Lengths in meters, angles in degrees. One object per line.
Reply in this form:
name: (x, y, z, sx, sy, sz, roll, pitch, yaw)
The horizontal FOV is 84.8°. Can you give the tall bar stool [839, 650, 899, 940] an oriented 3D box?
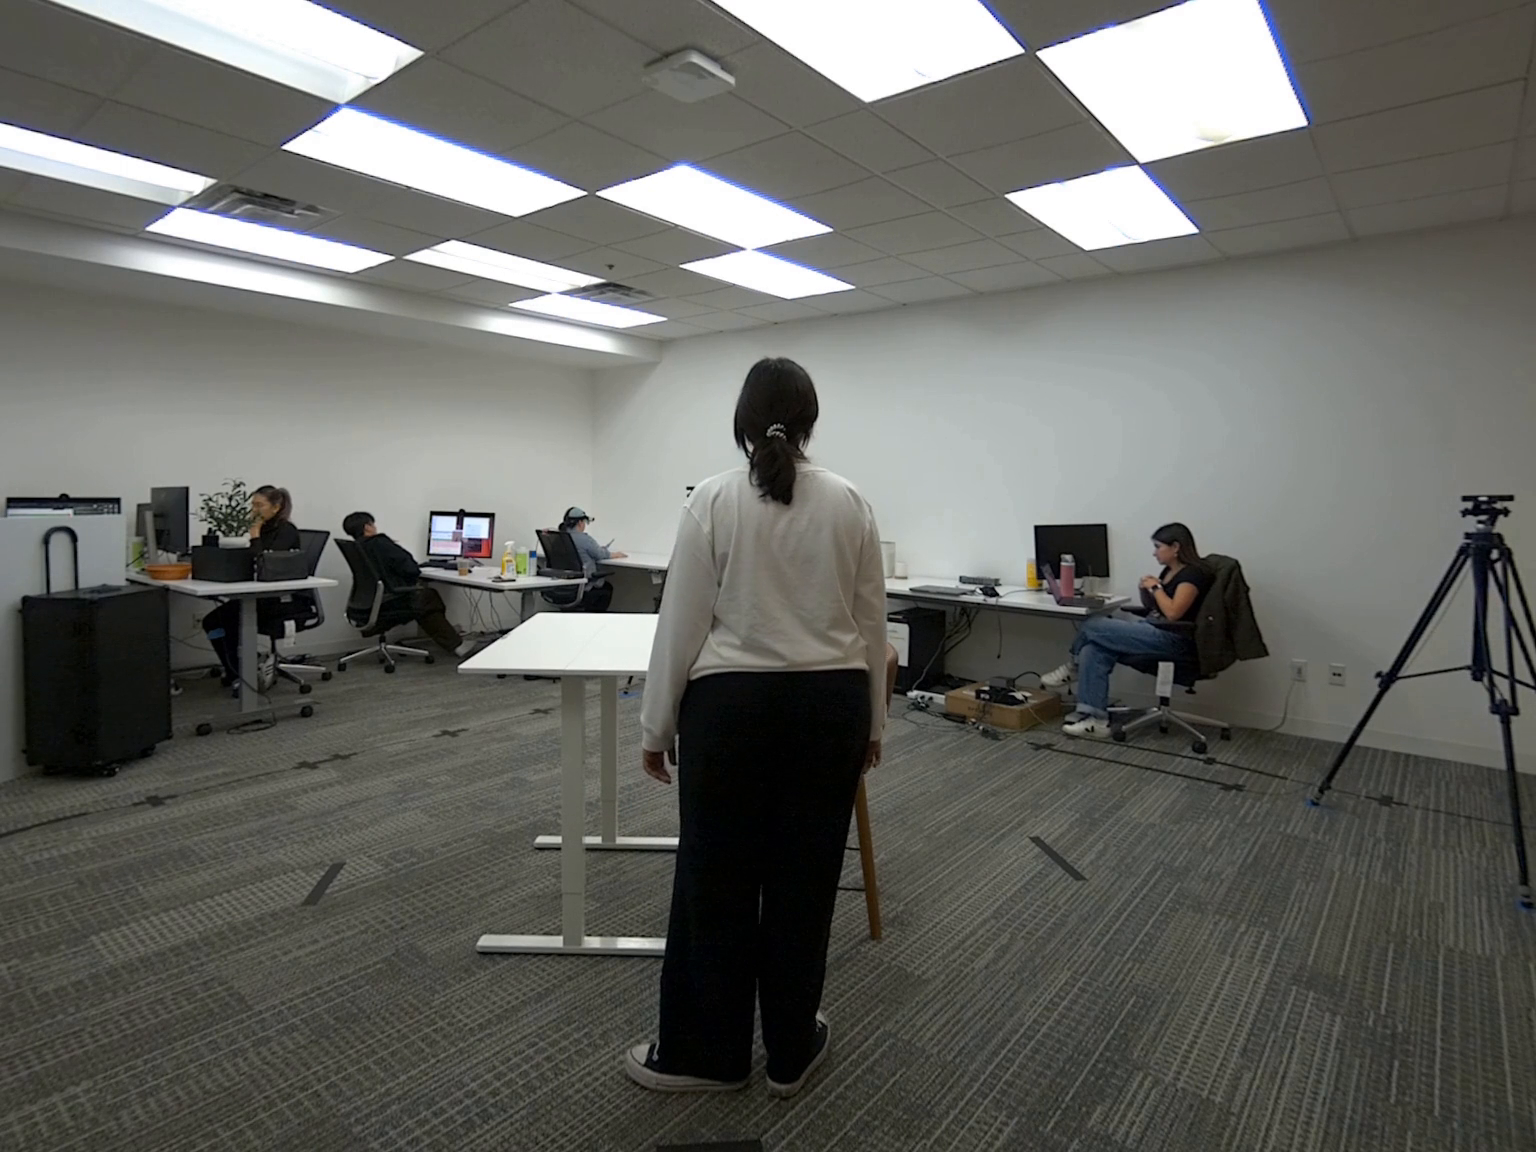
tall bar stool: (0.161, 0.668, 2.820, 0.472, 0.887, 0.454, 4, 4, 7)
